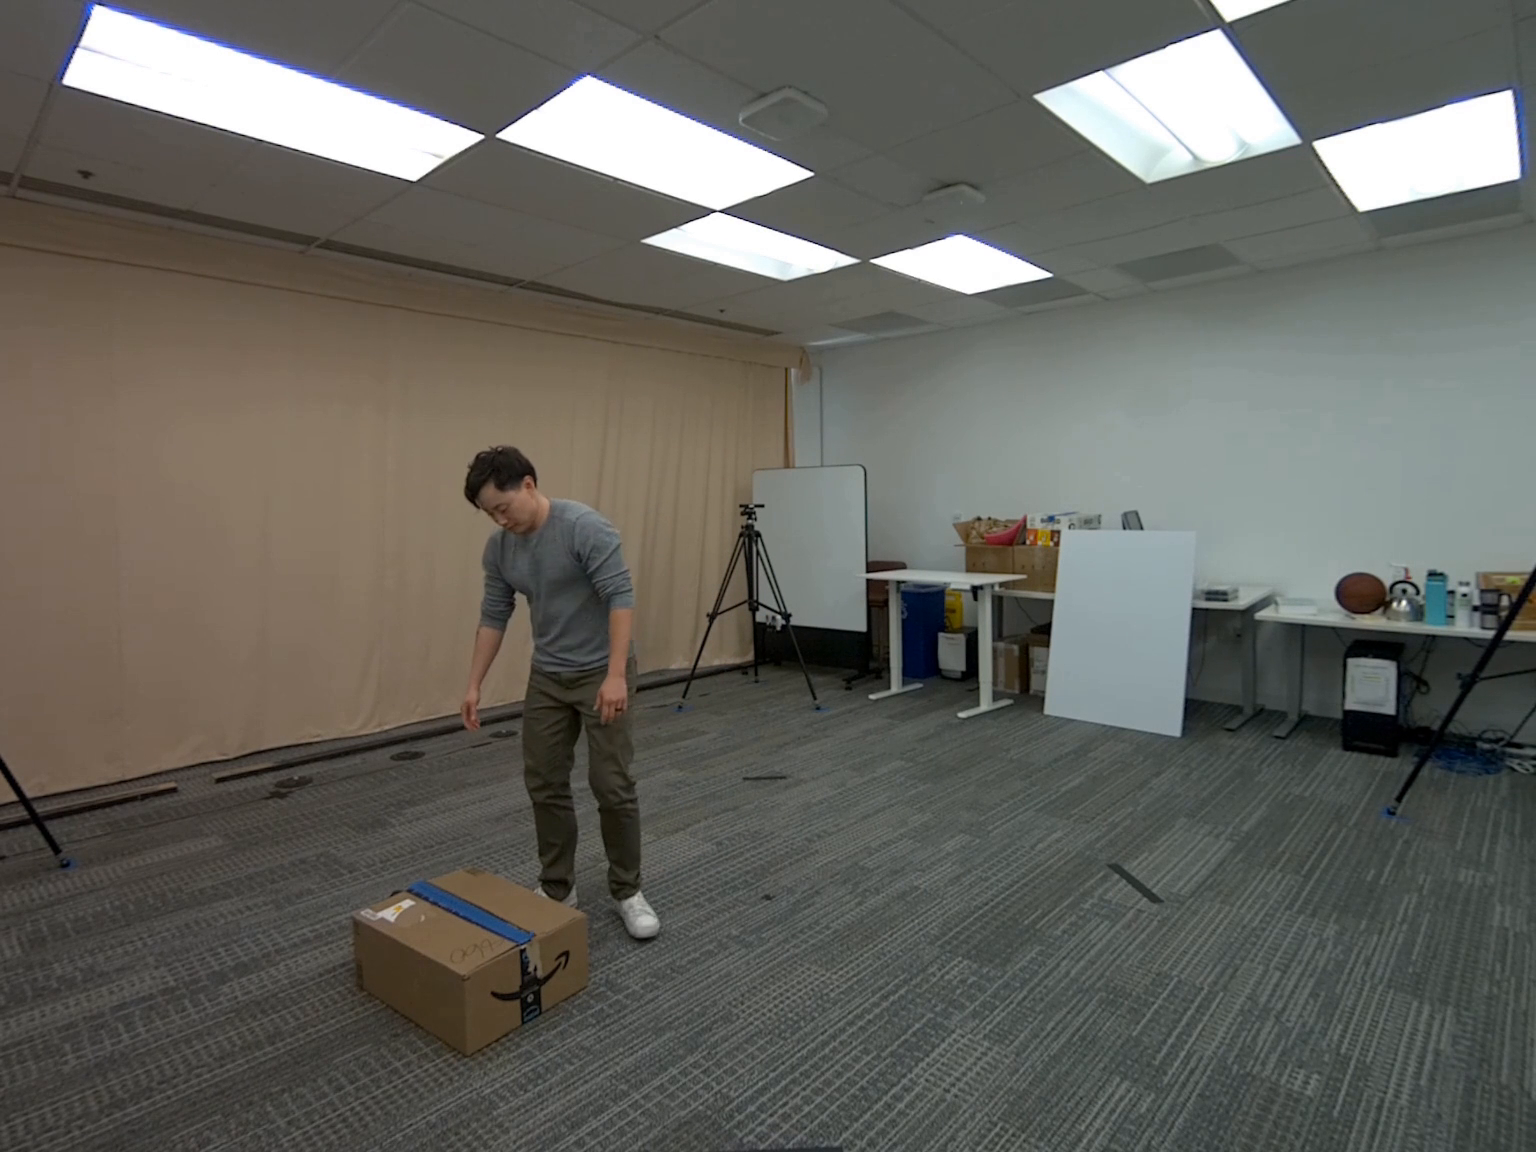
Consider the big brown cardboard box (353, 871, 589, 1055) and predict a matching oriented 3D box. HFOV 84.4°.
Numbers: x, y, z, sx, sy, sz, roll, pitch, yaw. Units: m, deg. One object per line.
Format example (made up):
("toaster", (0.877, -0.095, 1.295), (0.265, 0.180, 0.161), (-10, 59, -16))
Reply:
("big brown cardboard box", (-0.875, 1.088, 2.474), (0.608, 0.232, 0.405), (3, 6, 37))
